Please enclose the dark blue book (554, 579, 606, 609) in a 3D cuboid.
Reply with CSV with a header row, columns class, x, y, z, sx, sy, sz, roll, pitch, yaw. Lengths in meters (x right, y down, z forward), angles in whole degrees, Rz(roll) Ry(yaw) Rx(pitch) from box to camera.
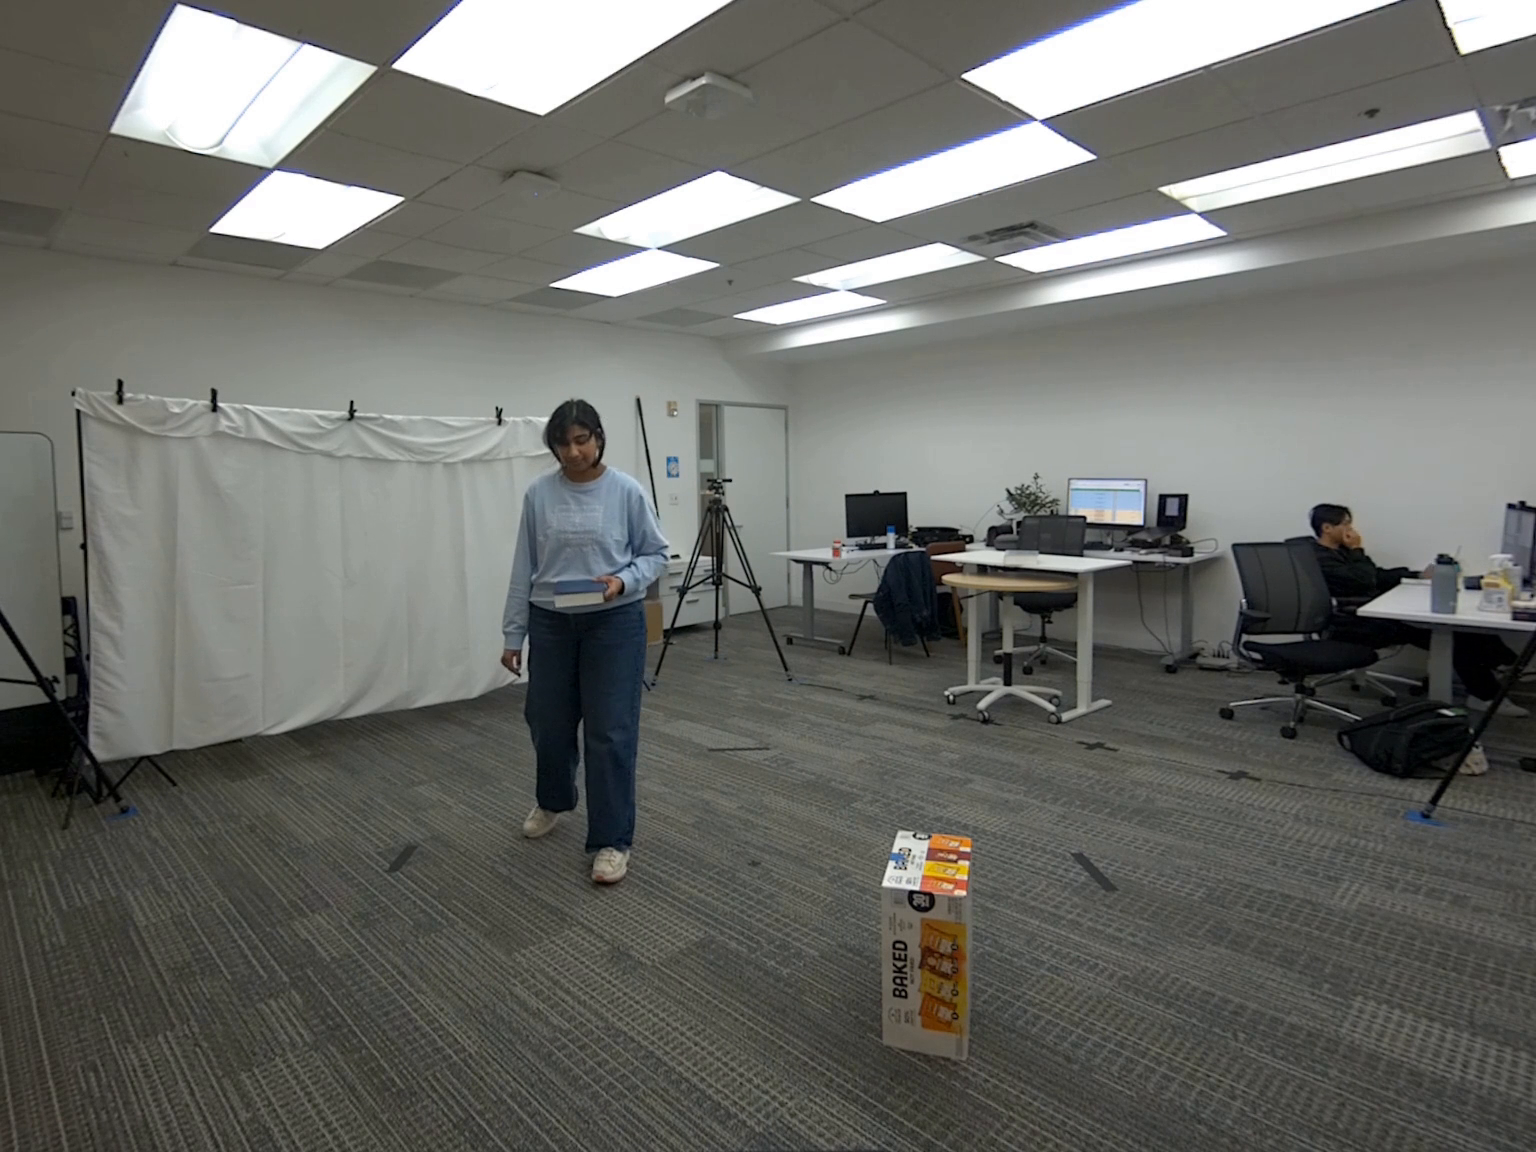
class,x,y,z,sx,sy,sz,roll,pitch,yaw
dark blue book,-0.625,0.063,2.844,0.163,0.045,0.247,-4,8,-3
